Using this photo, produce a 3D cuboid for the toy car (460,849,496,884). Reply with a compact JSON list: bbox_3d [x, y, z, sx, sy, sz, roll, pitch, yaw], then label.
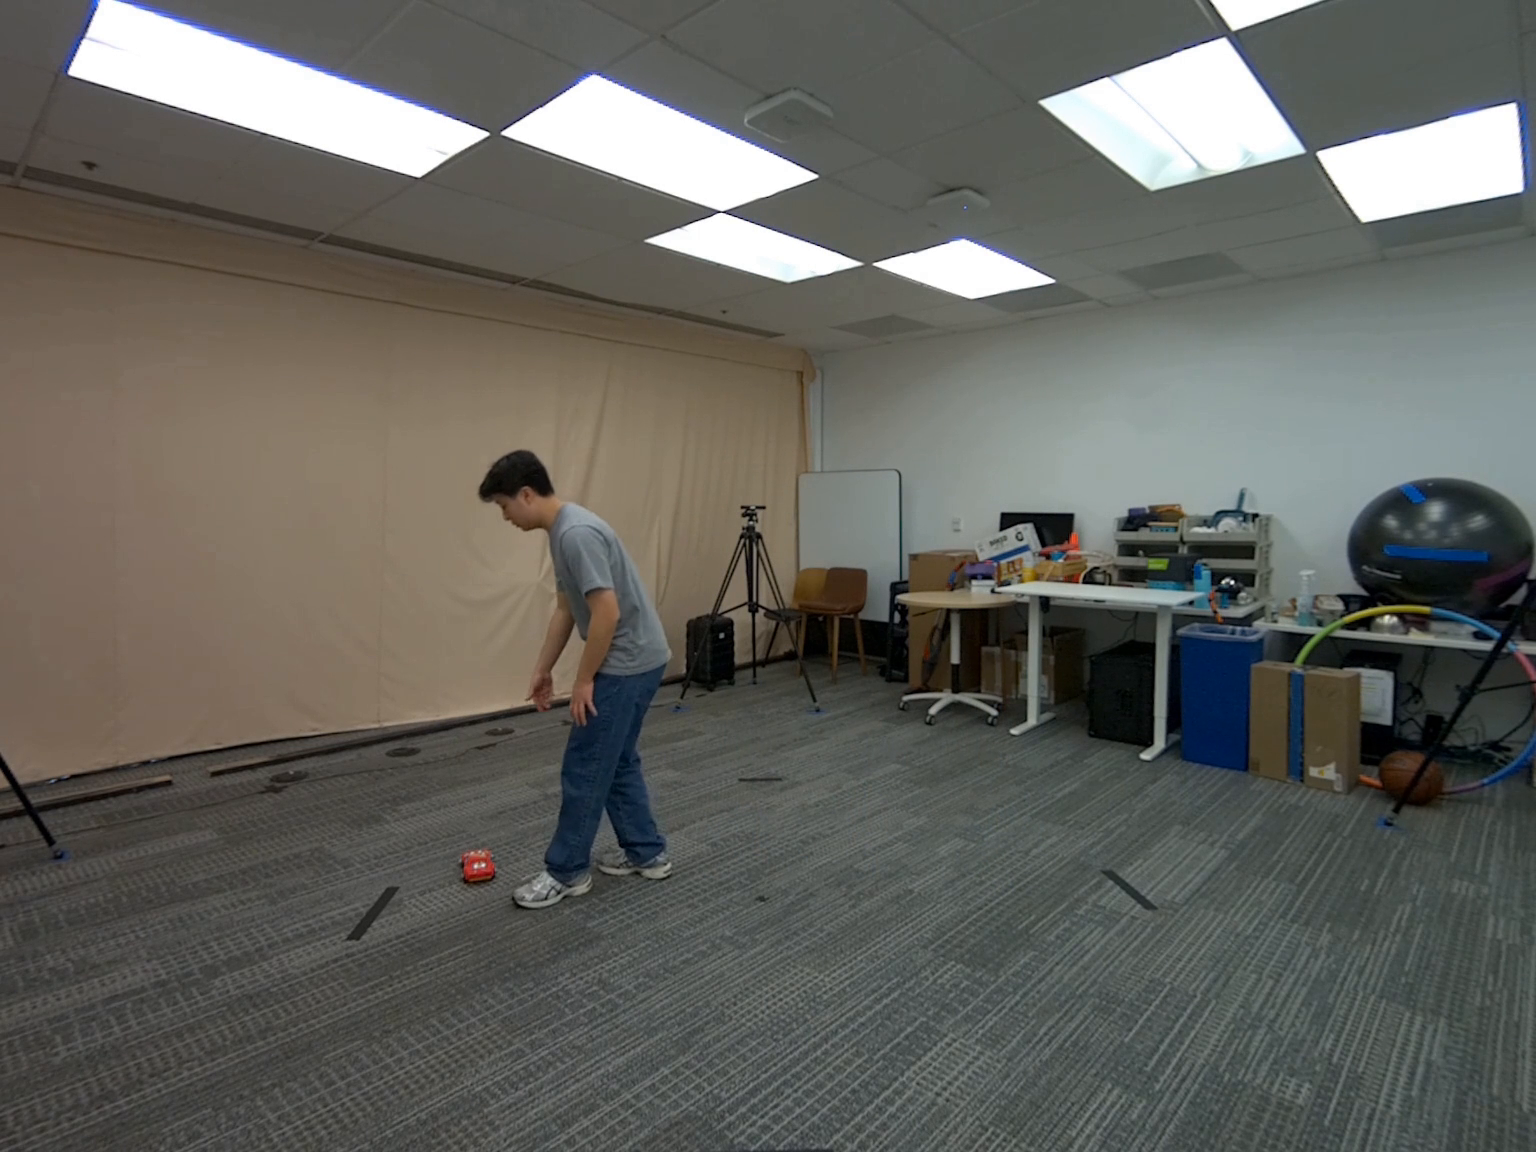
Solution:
[{"bbox_3d":[-1.108,1.110,3.206,0.127,0.083,0.258,-1,-7,-22],"label":"toy car"}]
